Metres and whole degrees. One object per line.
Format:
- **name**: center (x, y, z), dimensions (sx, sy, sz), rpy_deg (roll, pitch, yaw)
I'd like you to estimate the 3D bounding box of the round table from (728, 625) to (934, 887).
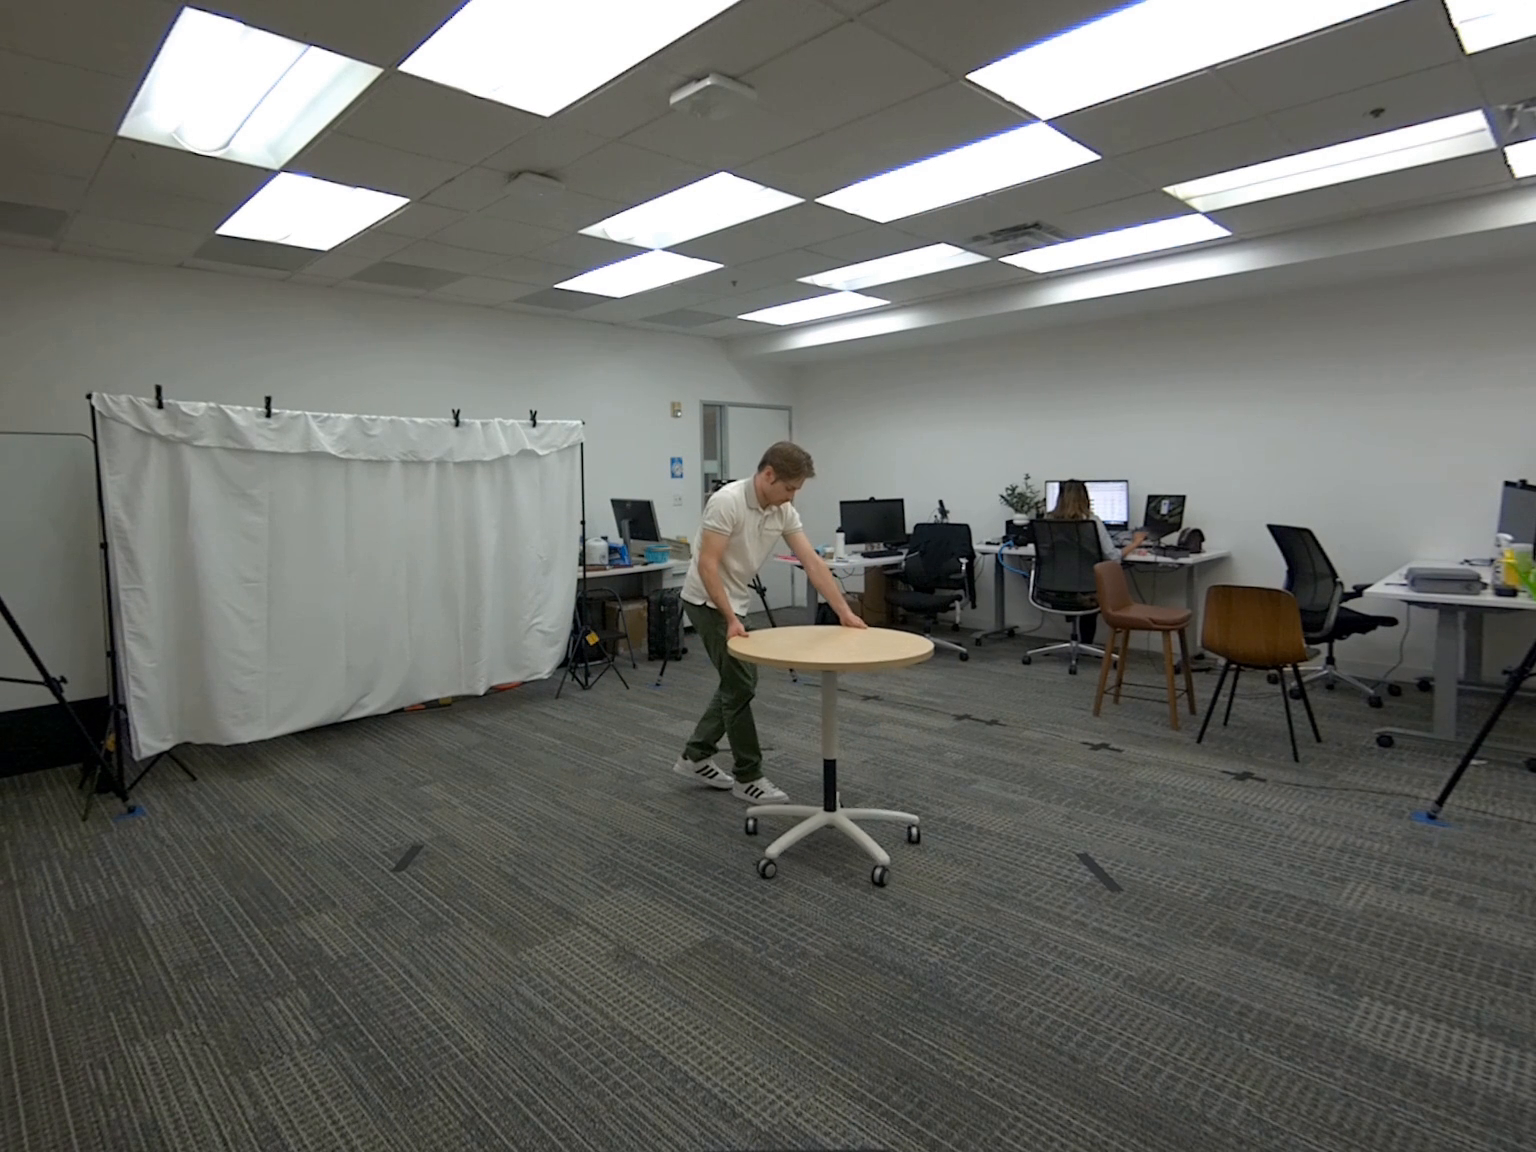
- **round table**: center (0.223, 0.635, 3.235), dimensions (0.784, 0.784, 0.788), rpy_deg (0, 4, -2)
